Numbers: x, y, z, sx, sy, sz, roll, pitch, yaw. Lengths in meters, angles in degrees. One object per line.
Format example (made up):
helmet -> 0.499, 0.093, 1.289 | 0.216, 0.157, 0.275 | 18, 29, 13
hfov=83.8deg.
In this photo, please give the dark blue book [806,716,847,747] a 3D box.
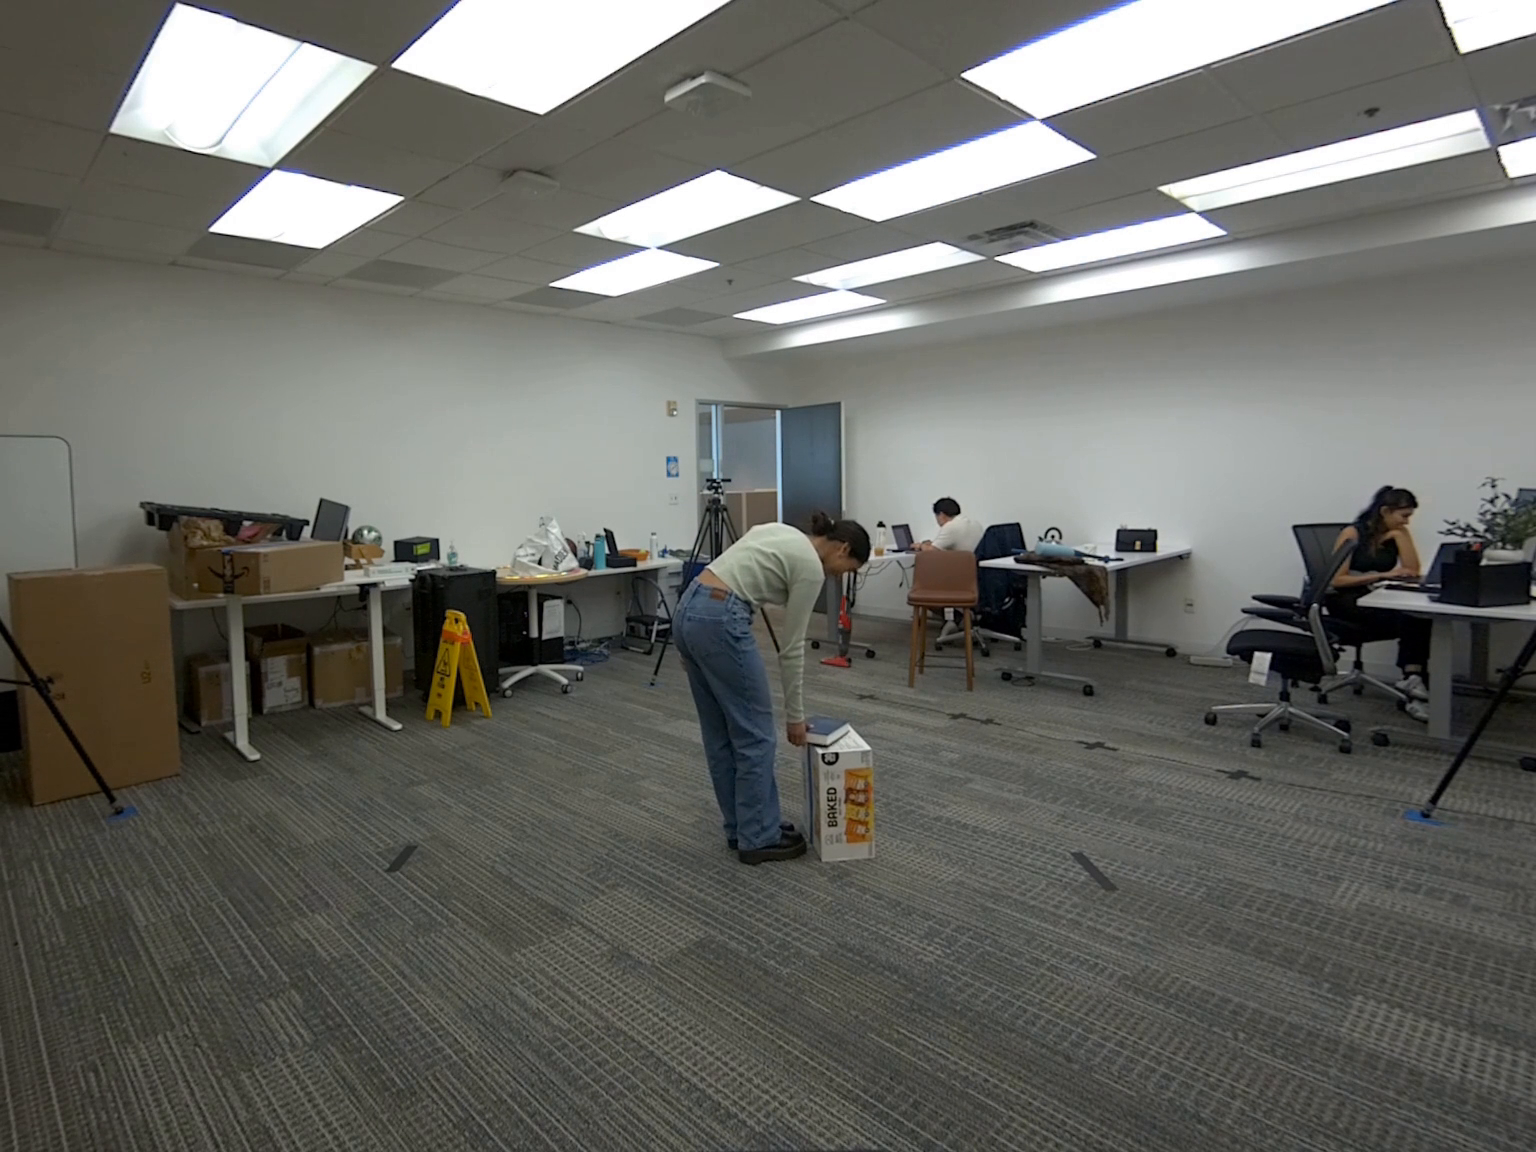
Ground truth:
dark blue book -> 0.196, 0.589, 3.277 | 0.167, 0.045, 0.240 | 4, 5, 25
